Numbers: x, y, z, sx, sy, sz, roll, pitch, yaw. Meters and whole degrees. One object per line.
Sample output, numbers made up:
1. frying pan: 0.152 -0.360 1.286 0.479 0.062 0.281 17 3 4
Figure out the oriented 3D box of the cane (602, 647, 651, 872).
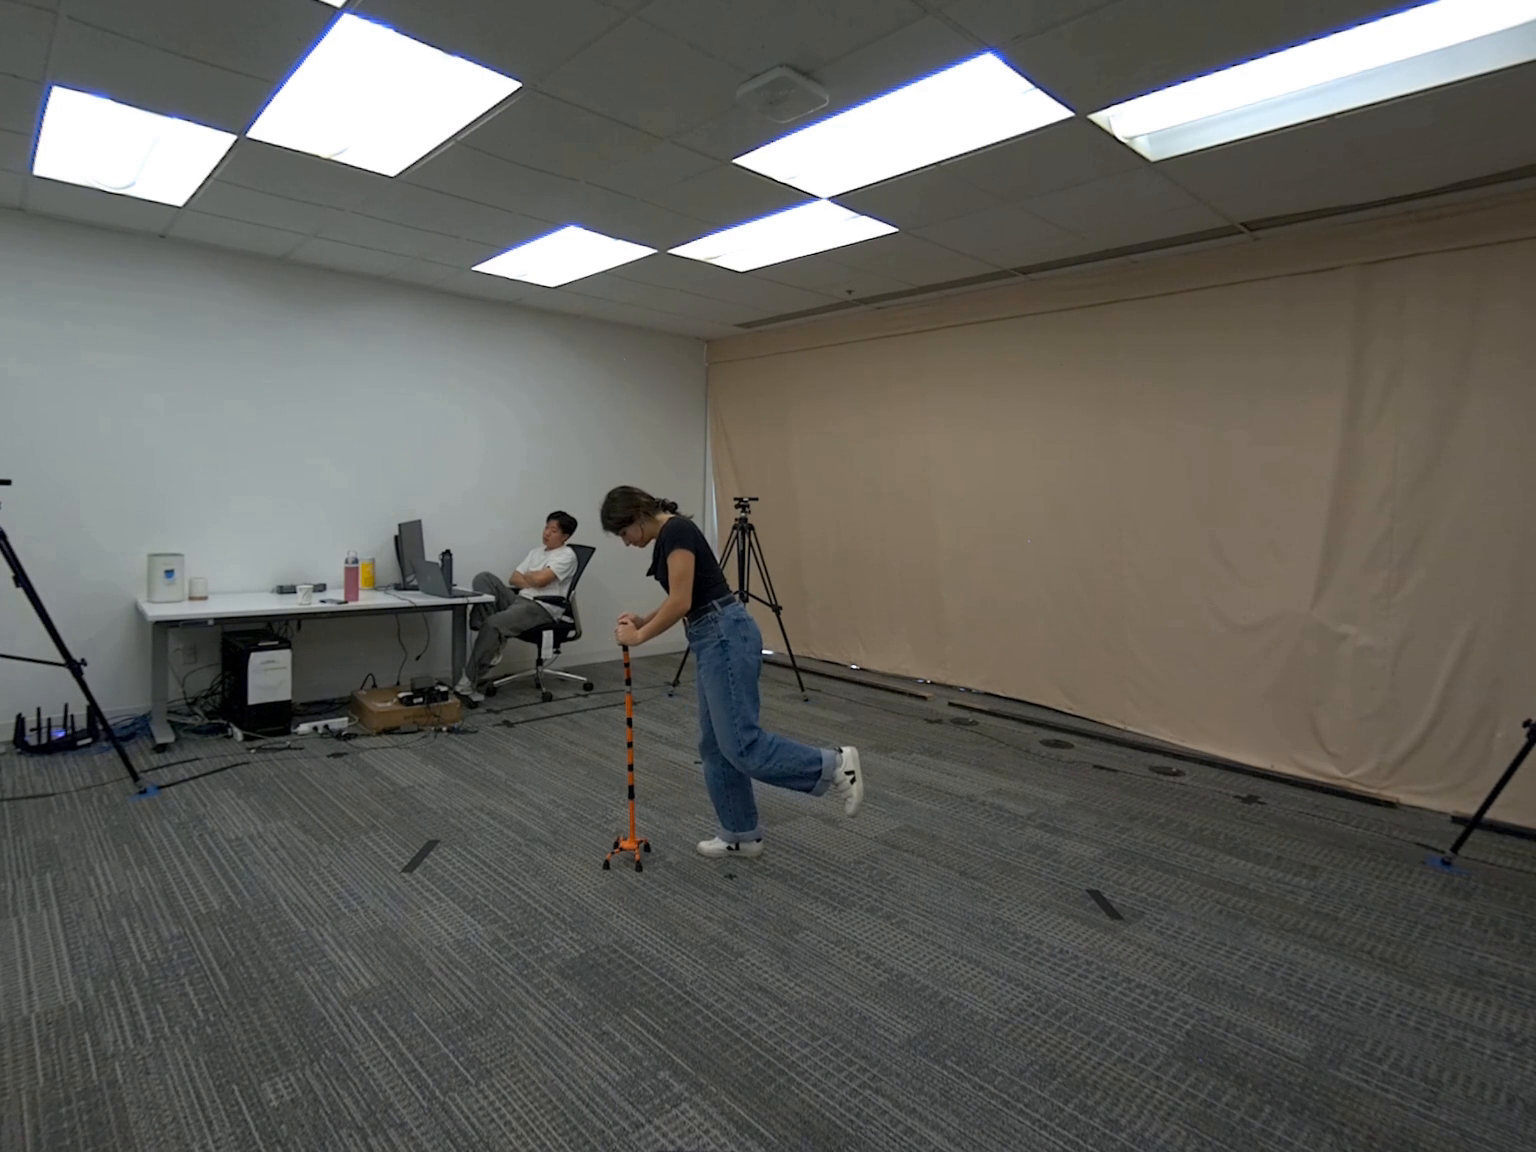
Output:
1. cane: -0.544 0.629 3.204 0.152 0.906 0.206 0 3 3
